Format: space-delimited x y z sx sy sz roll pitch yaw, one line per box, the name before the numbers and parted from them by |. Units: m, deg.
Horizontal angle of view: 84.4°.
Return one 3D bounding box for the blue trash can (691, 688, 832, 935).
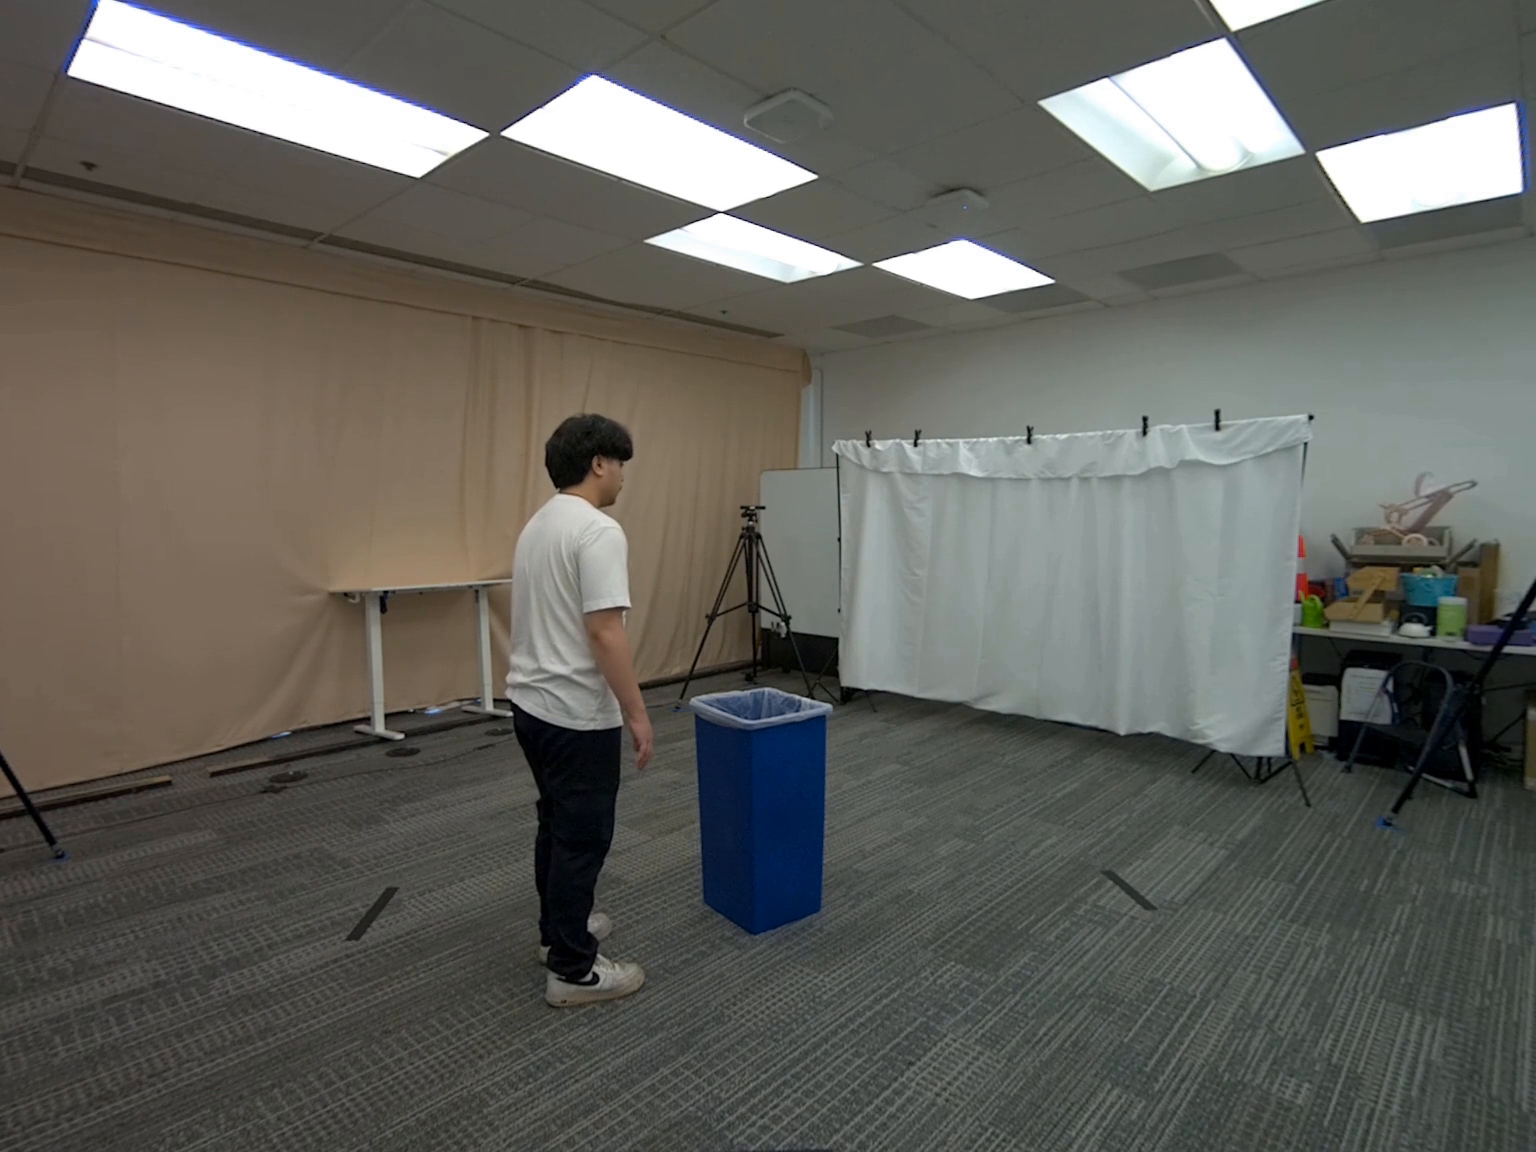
blue trash can | -0.025 0.792 2.907 0.363 0.712 0.390 -2 4 -37
